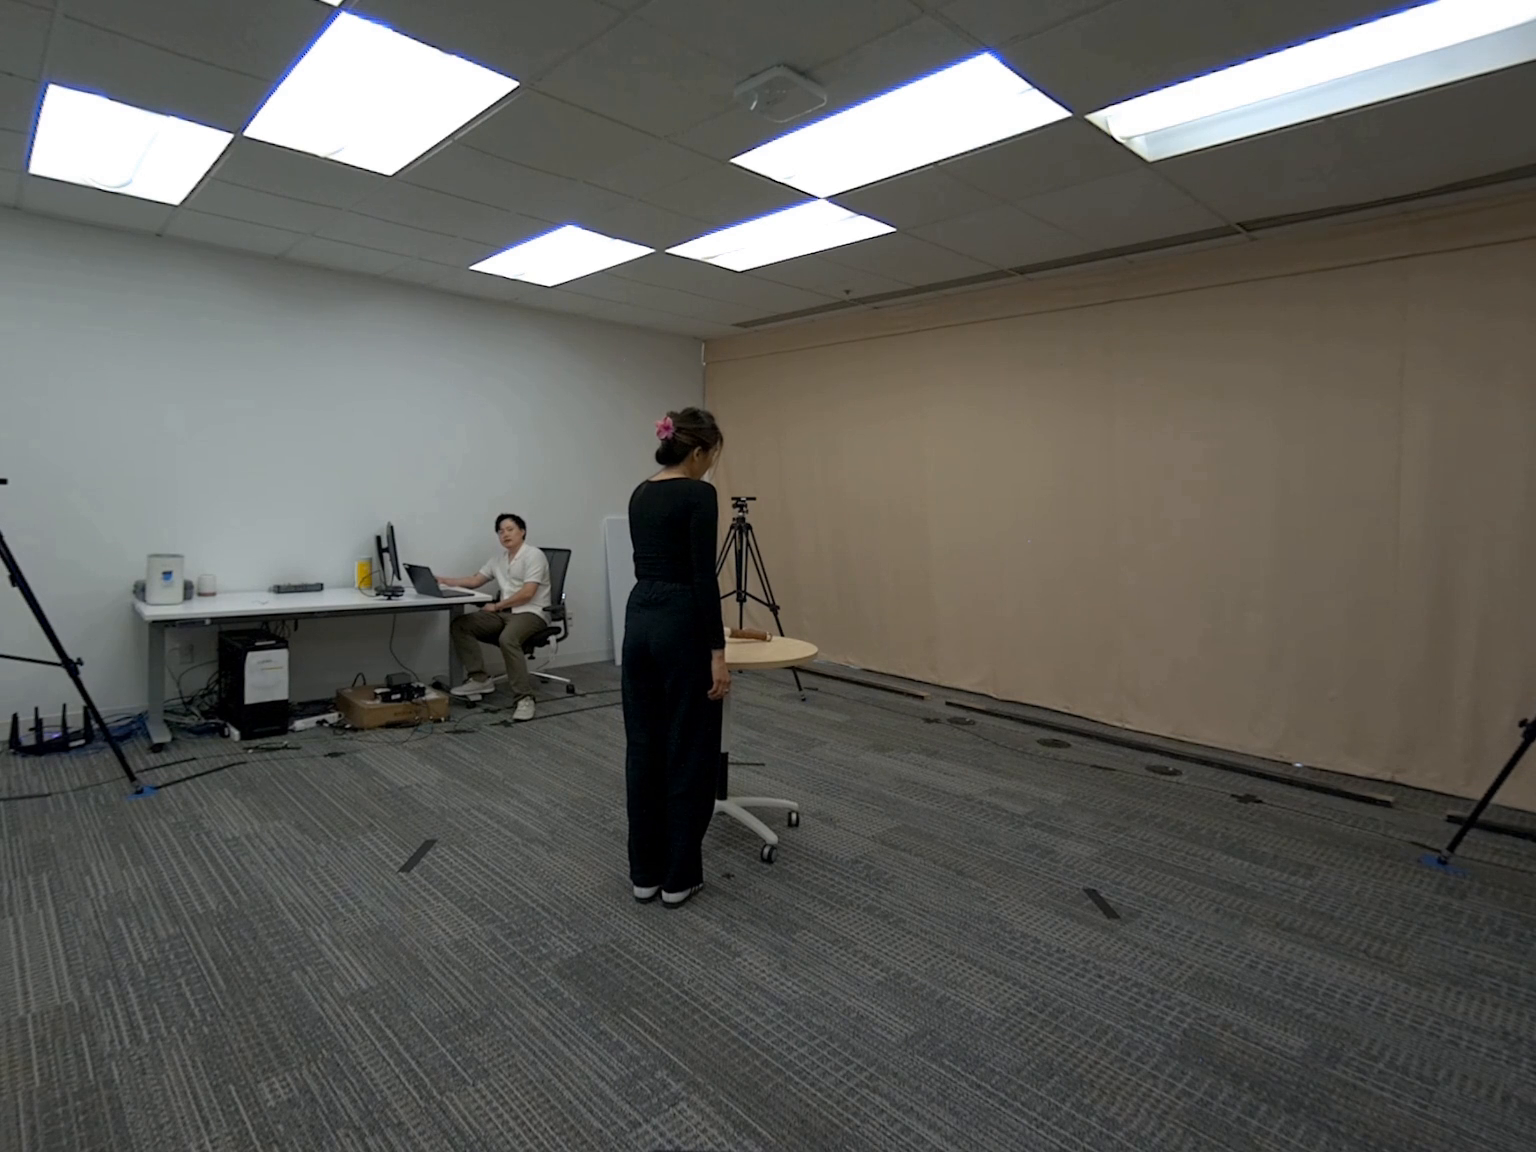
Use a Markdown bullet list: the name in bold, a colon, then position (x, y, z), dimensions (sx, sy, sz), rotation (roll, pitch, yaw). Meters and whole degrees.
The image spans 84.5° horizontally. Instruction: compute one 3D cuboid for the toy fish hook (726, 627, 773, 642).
- **toy fish hook**: position (-0.207, 0.261, 3.522), dimensions (0.499, 0.048, 0.230), rotation (5, 22, -17)
